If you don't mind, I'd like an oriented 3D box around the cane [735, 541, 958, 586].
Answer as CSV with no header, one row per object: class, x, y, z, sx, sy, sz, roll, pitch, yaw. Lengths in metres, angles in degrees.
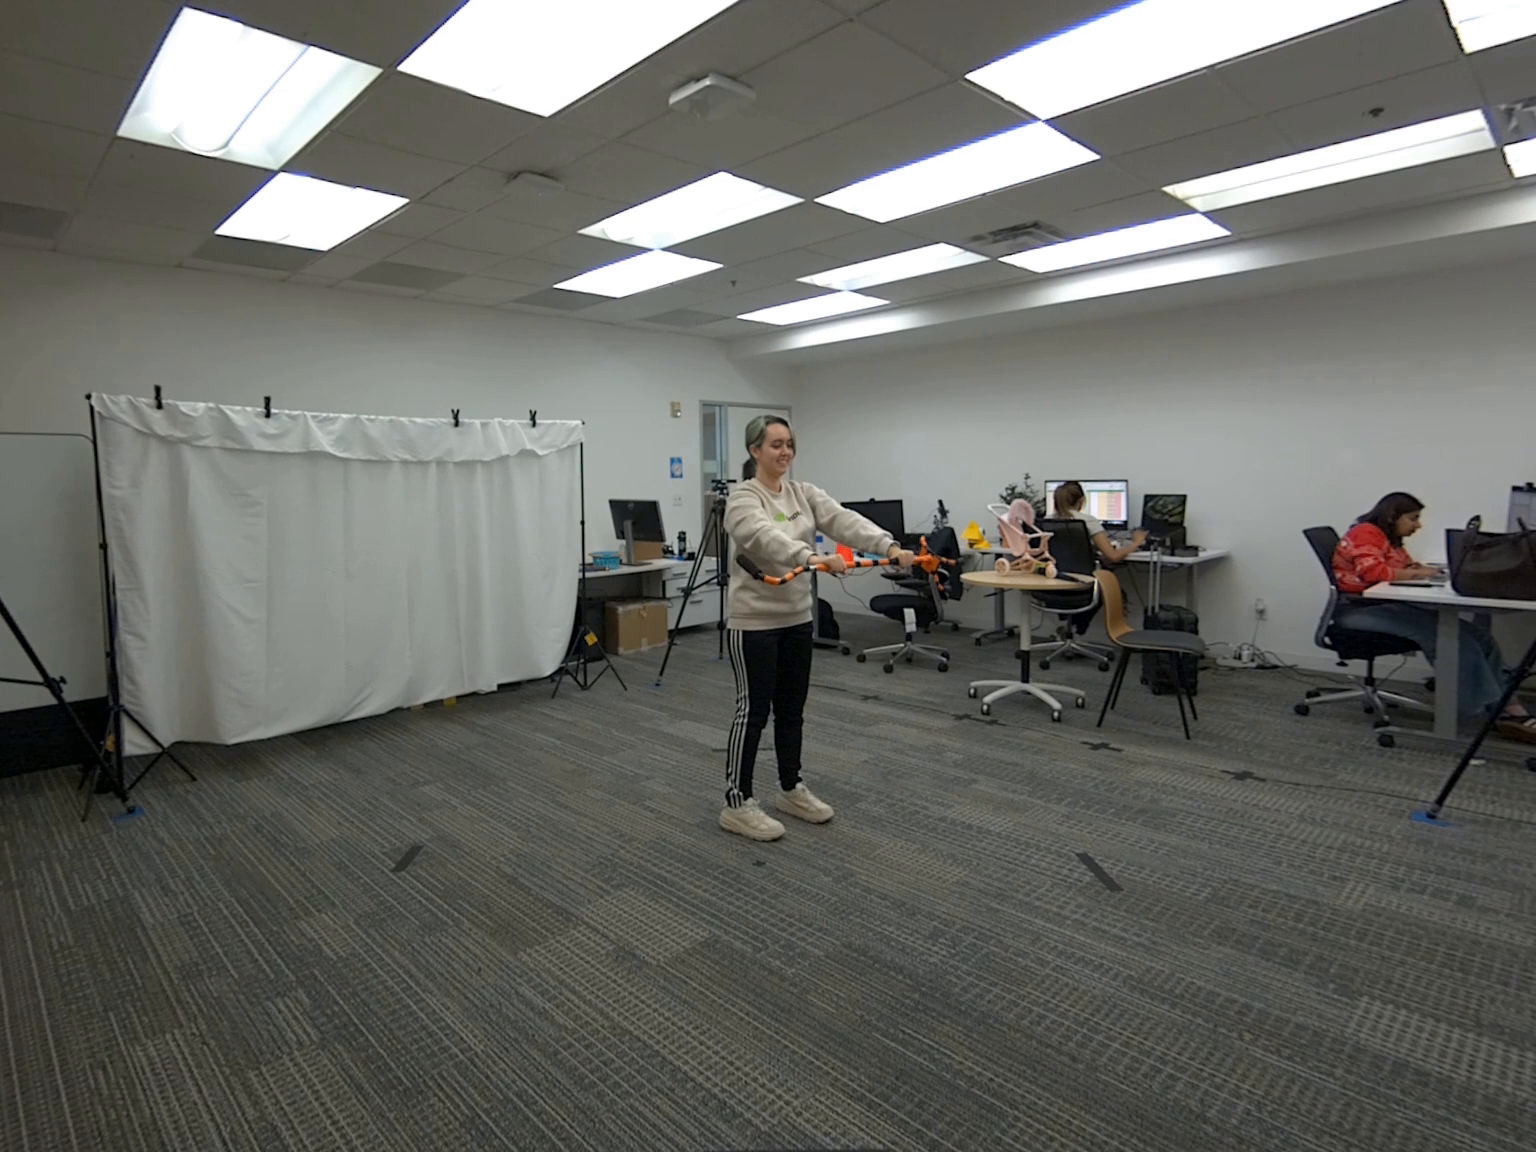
cane,0.301,-0.032,2.970,0.884,0.149,0.215,-3,34,-37
